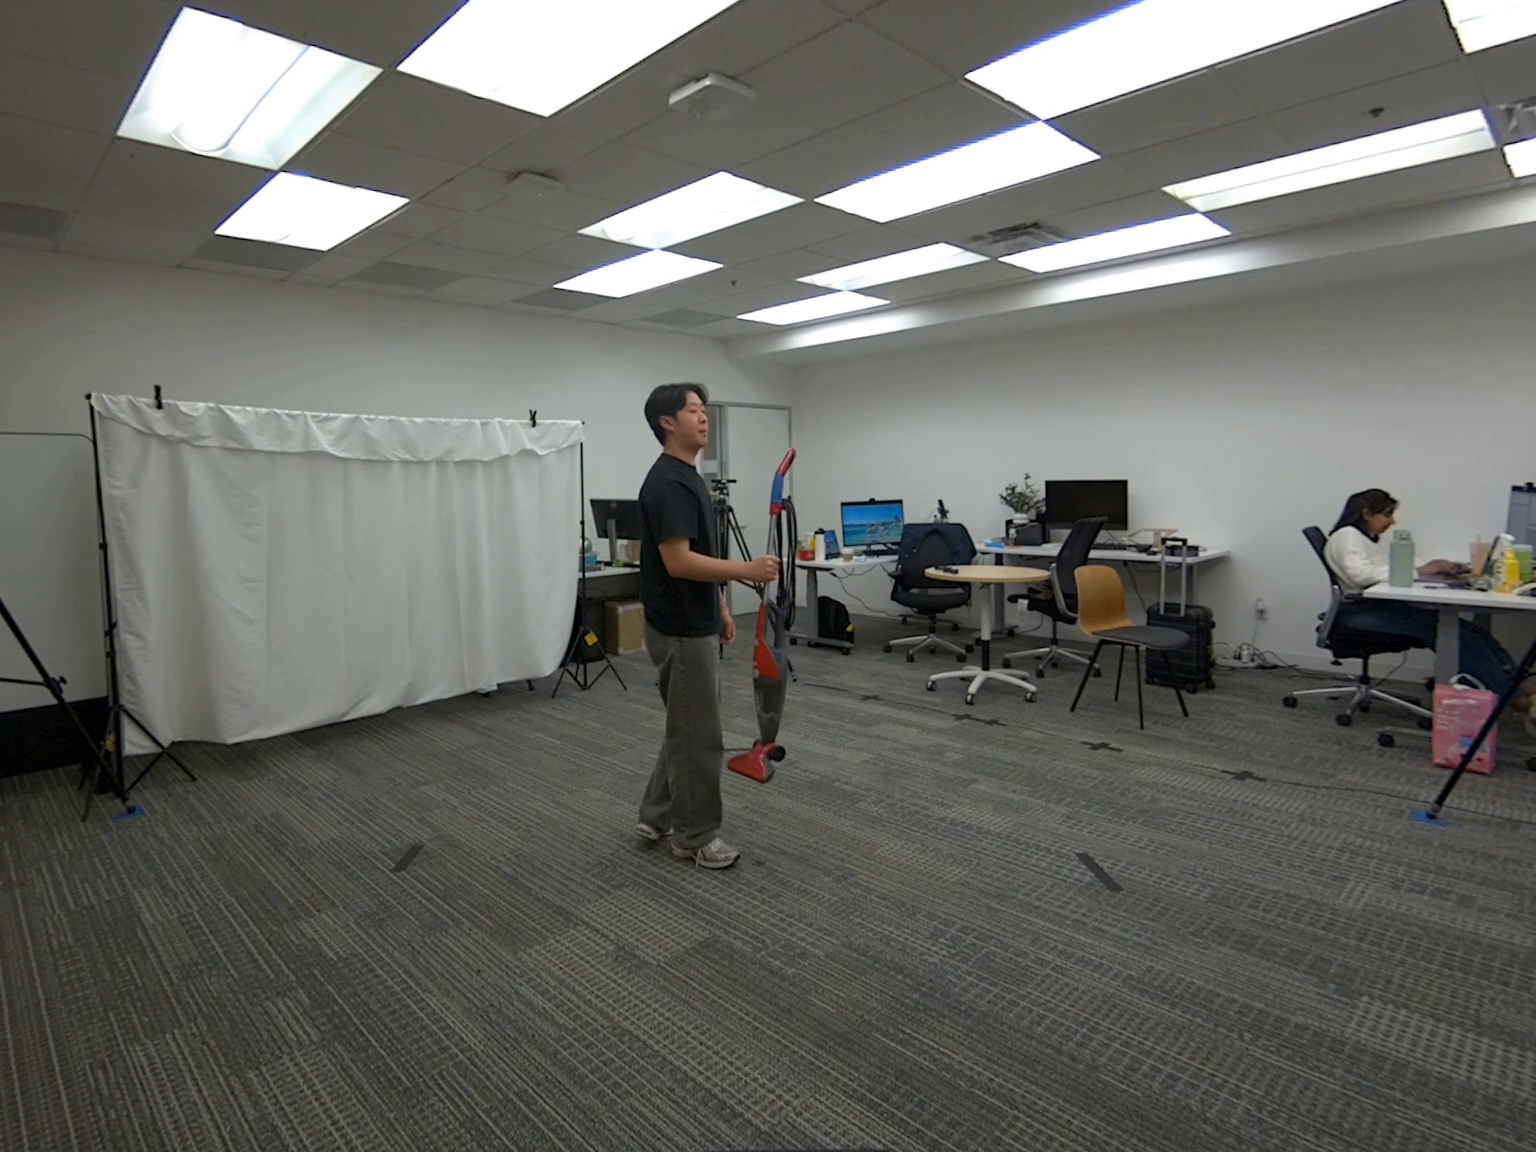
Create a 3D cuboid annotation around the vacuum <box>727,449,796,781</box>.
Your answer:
[{"bbox_3d":[0.034,0.101,2.885,0.140,1.054,0.258,9,-6,-30],"label":"vacuum"}]
